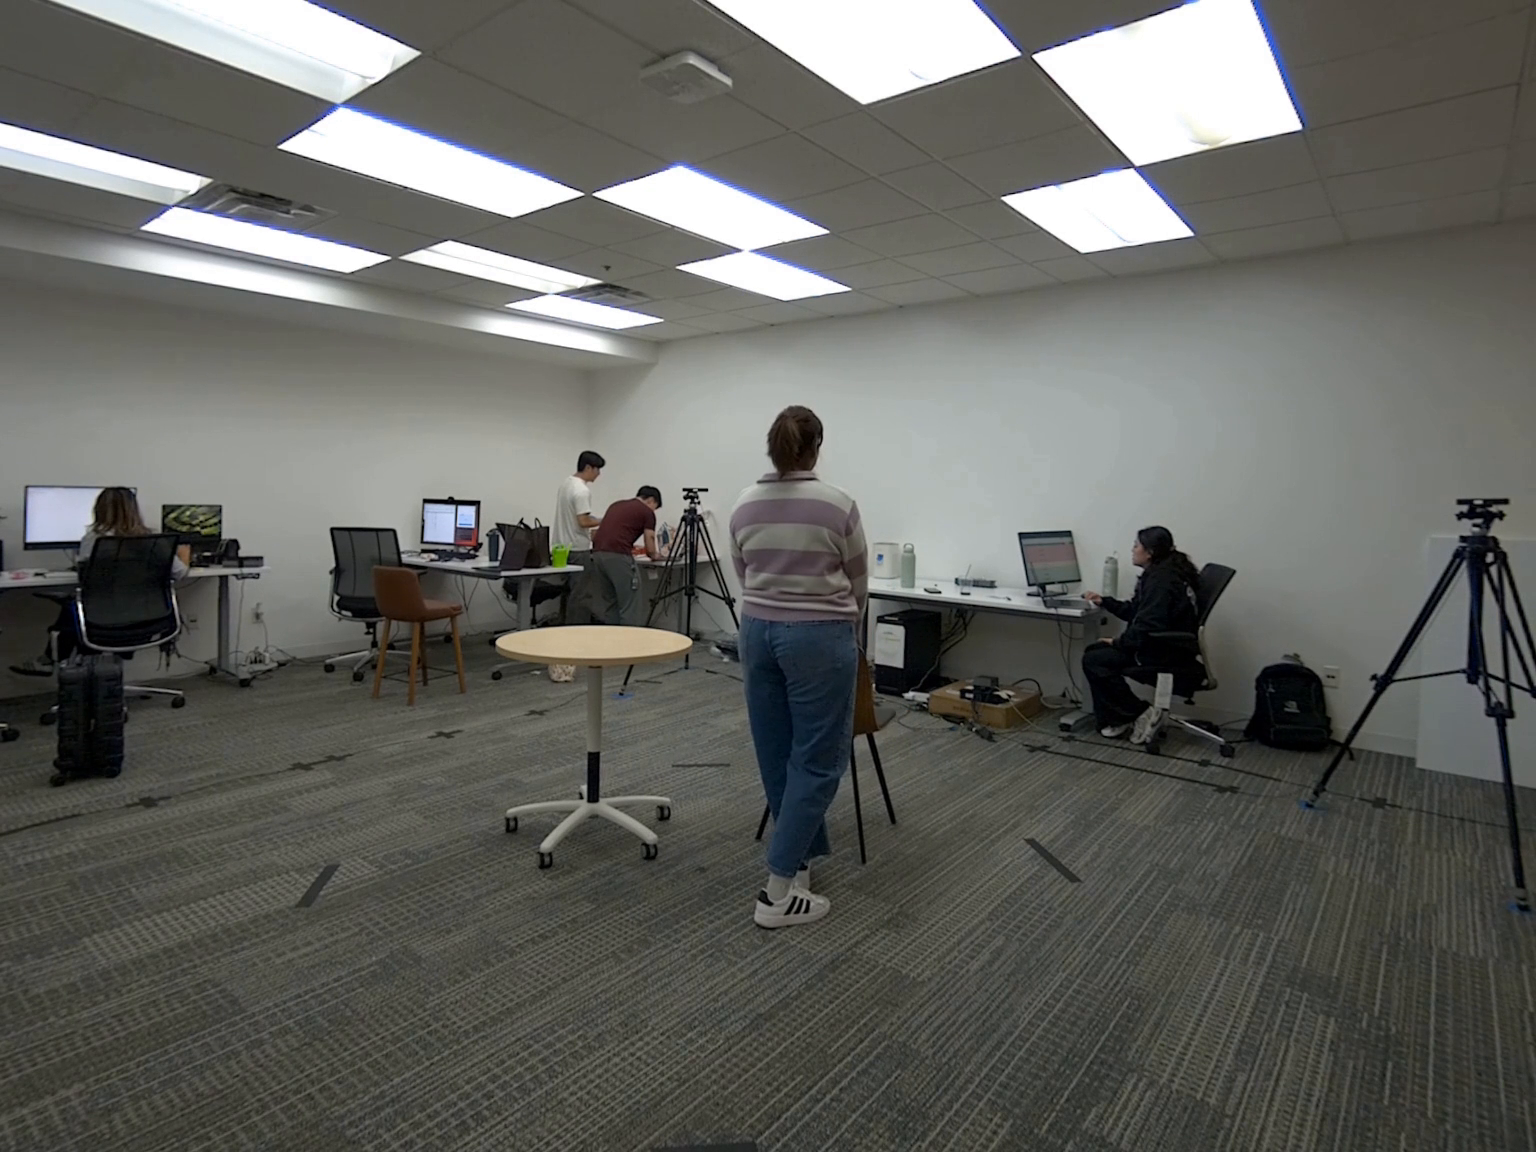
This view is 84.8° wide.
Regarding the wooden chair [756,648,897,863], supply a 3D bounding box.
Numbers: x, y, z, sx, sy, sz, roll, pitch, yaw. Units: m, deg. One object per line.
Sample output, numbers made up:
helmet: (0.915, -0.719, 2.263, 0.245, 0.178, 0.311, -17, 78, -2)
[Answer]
wooden chair: (0.242, 0.614, 3.462, 0.490, 0.871, 0.514, 2, 8, 25)
